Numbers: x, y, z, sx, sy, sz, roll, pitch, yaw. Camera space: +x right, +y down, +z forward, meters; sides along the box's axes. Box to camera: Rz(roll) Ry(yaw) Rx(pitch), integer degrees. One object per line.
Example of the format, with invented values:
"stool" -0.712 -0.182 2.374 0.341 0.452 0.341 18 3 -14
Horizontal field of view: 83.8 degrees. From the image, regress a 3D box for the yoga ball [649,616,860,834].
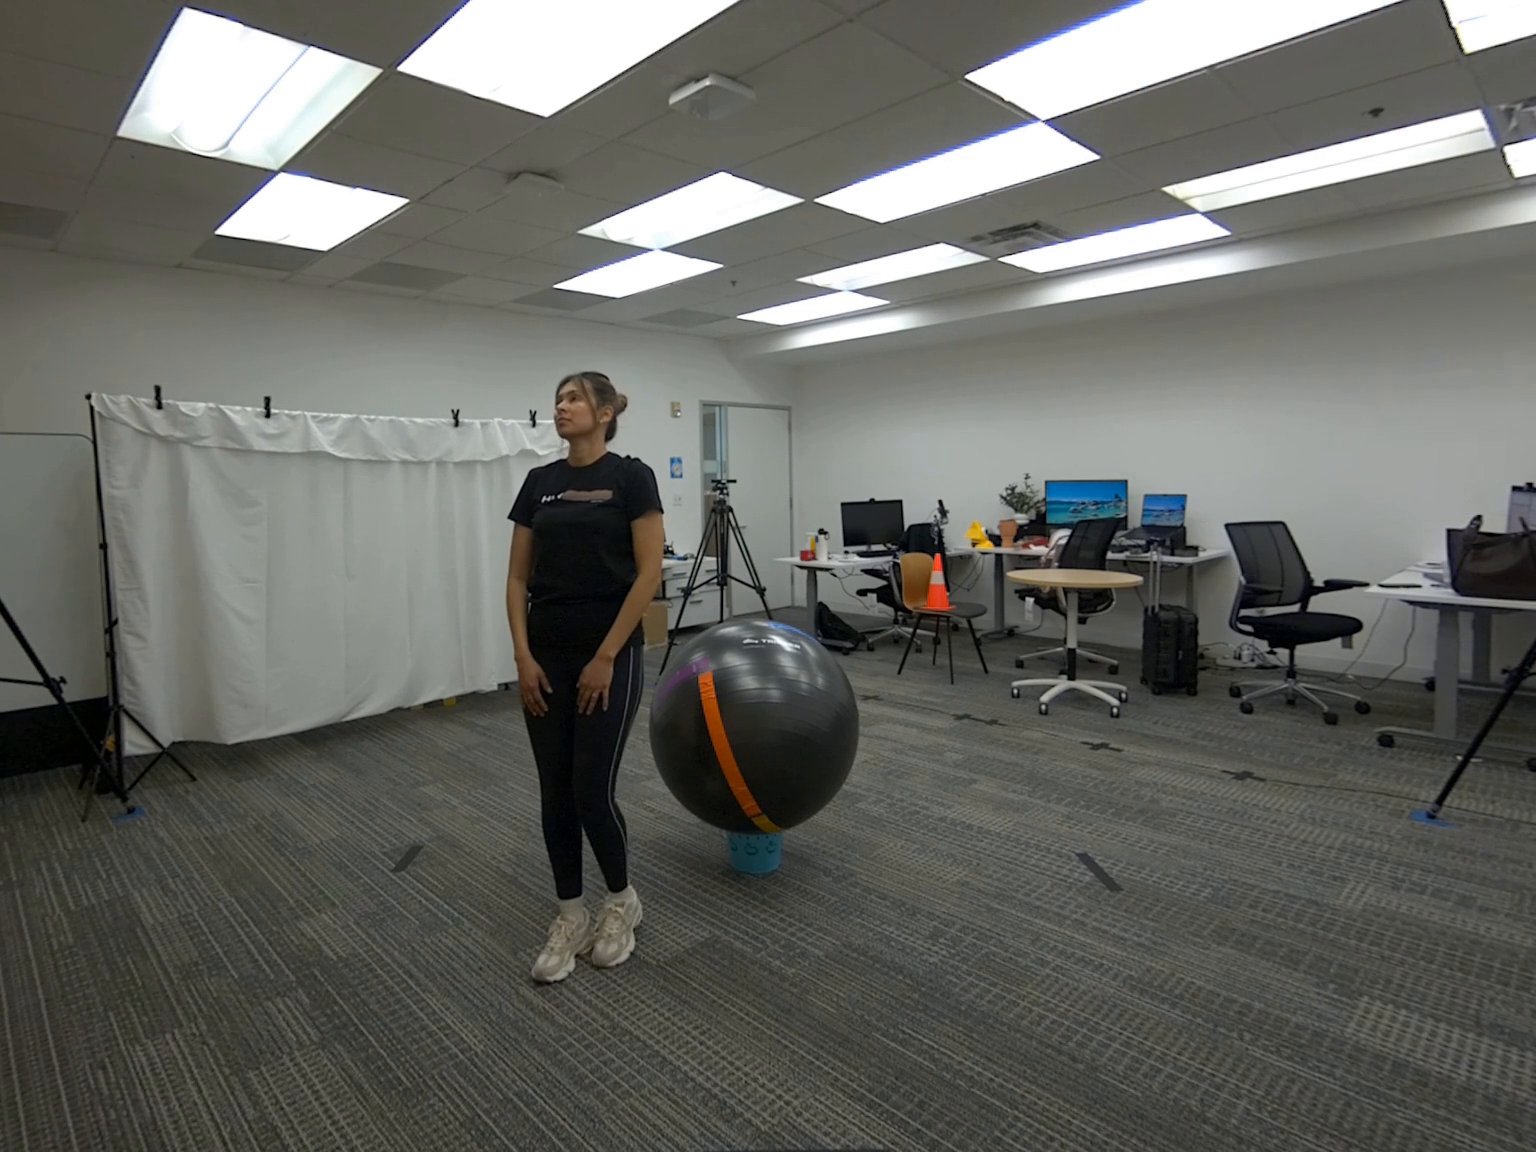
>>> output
"yoga ball" -0.050 0.536 3.095 0.757 0.755 0.762 -1 5 -2
